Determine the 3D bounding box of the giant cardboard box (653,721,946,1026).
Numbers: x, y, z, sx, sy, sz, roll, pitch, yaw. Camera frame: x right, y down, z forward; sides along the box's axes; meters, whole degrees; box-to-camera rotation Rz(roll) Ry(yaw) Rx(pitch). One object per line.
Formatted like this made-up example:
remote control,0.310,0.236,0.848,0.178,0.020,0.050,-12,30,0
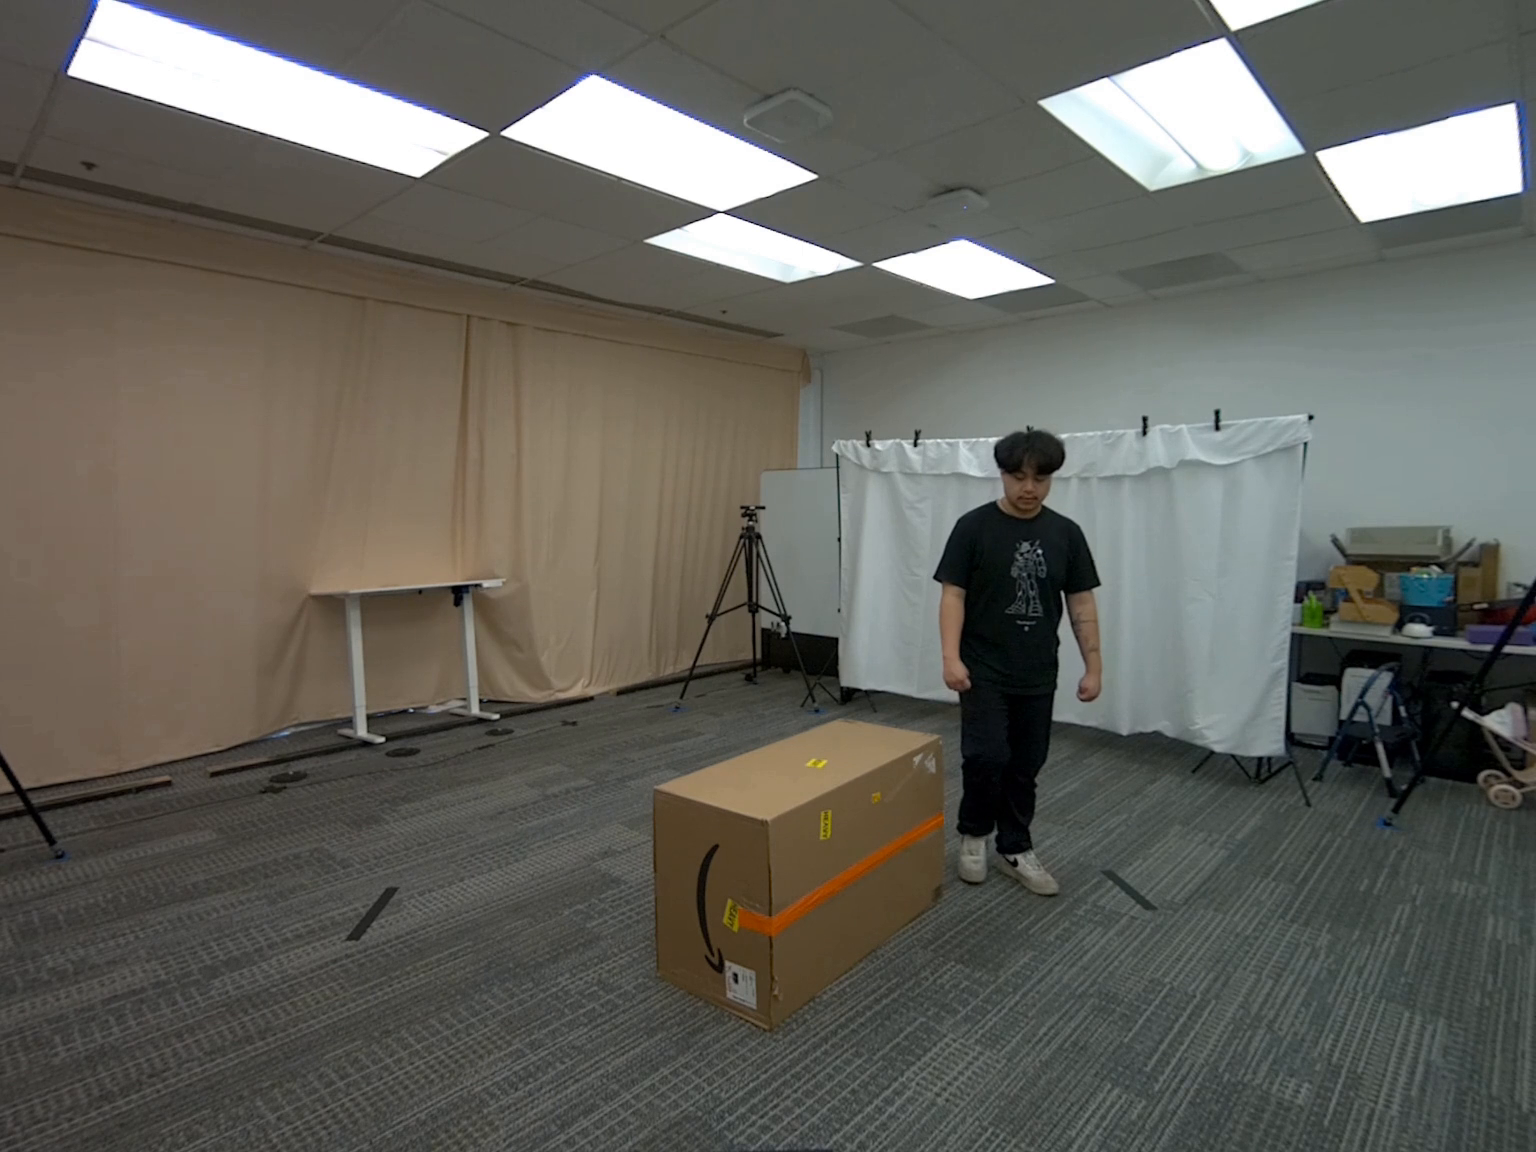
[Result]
giant cardboard box,0.145,0.880,2.724,0.461,0.582,0.997,3,6,38
